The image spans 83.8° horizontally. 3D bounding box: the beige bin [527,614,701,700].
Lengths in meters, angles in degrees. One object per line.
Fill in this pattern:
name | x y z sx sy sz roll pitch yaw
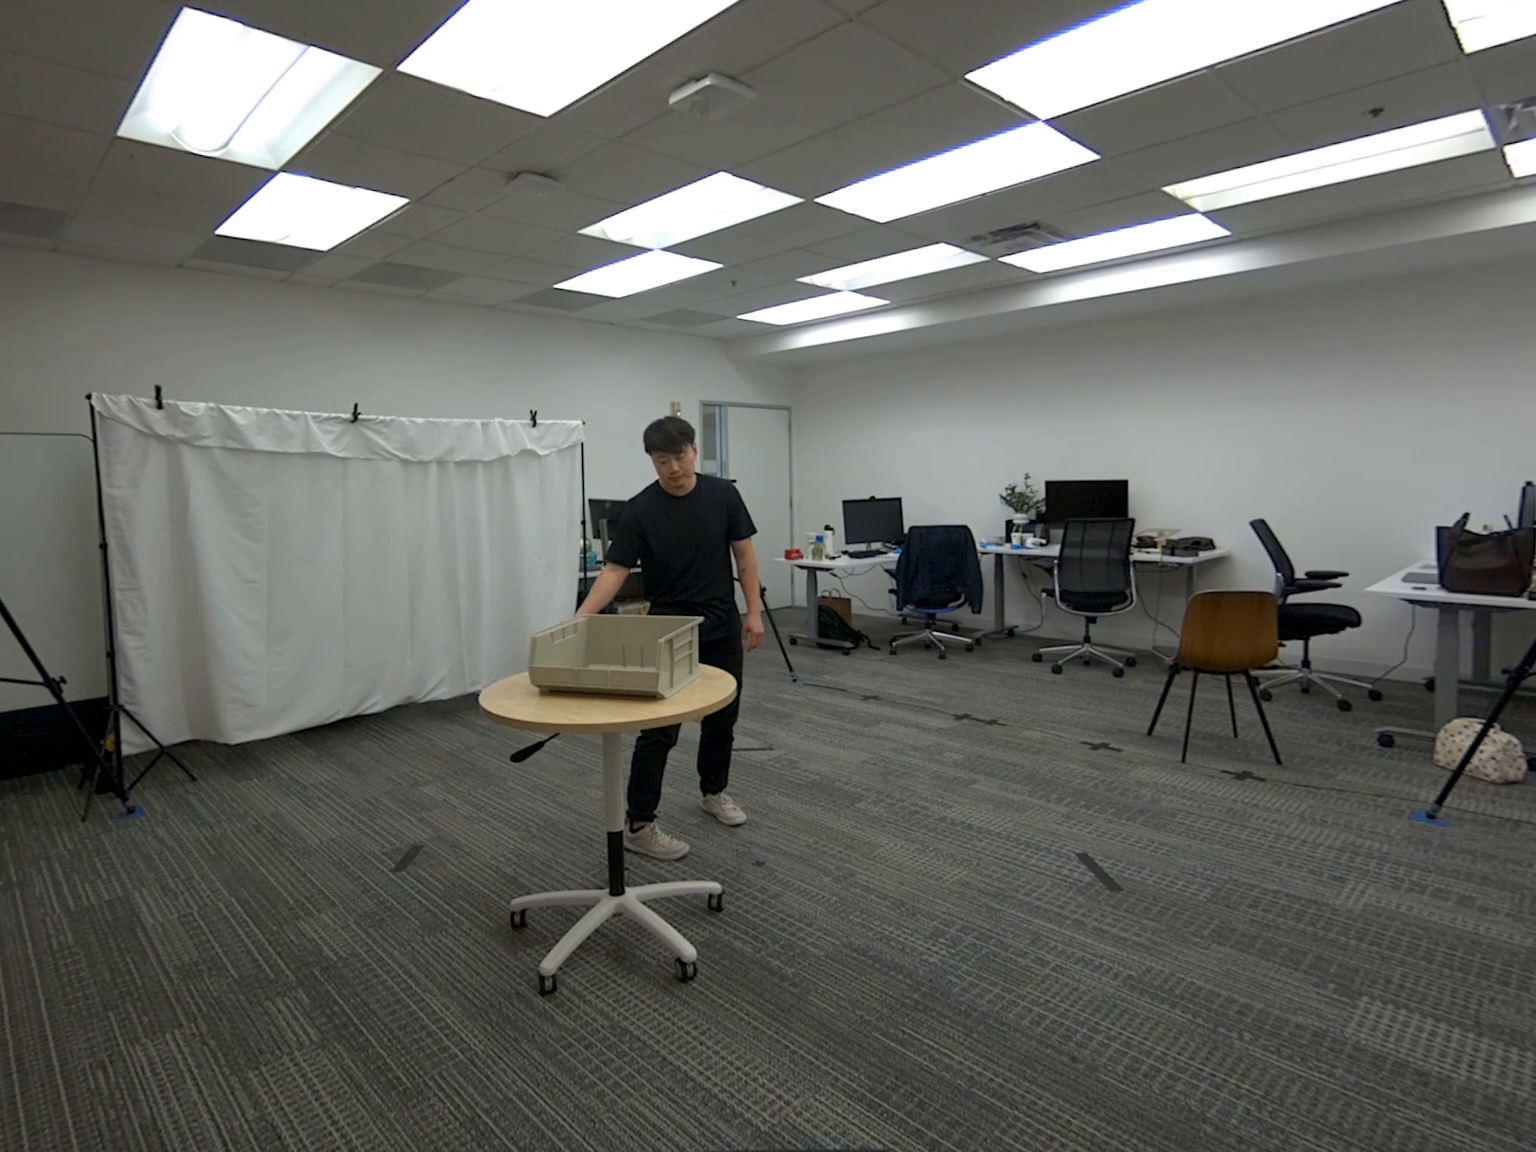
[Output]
beige bin | -0.454 0.246 2.601 0.429 0.188 0.373 0 6 16
